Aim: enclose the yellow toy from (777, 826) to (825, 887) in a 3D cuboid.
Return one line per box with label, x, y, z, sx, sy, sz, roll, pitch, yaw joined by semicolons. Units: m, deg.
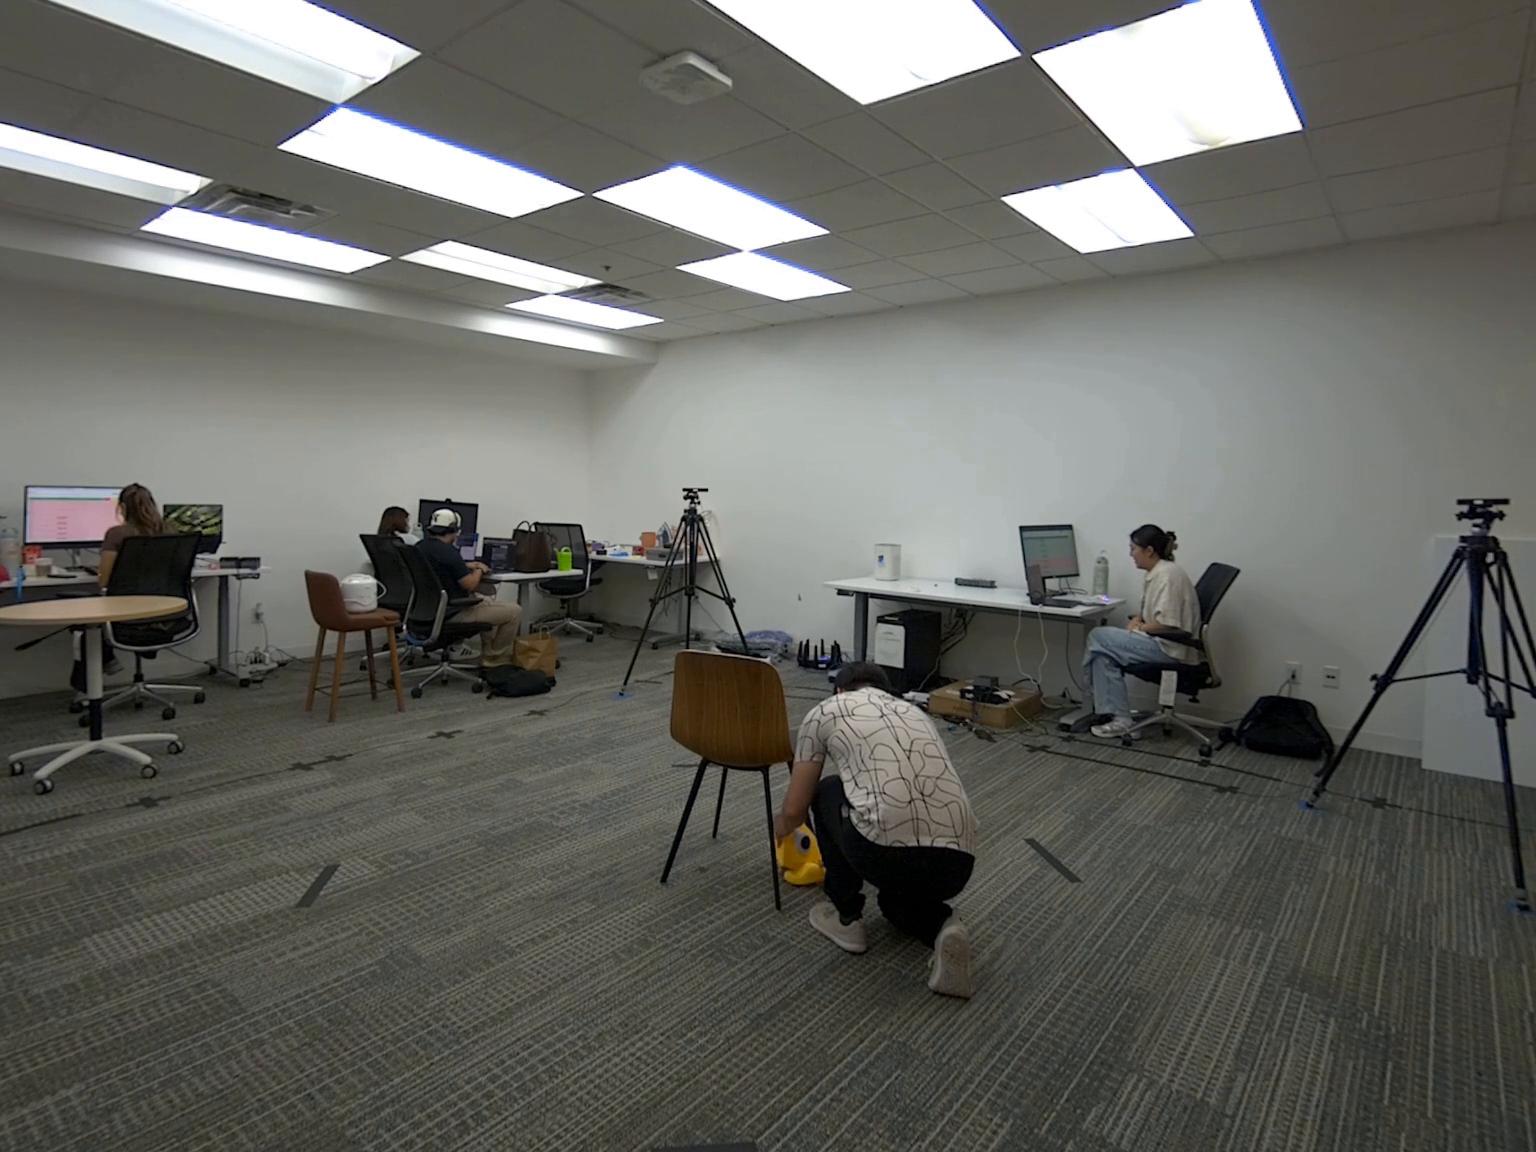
yellow toy;0.100;0.956;3.070;0.191;0.230;0.208;-7;5;-13
